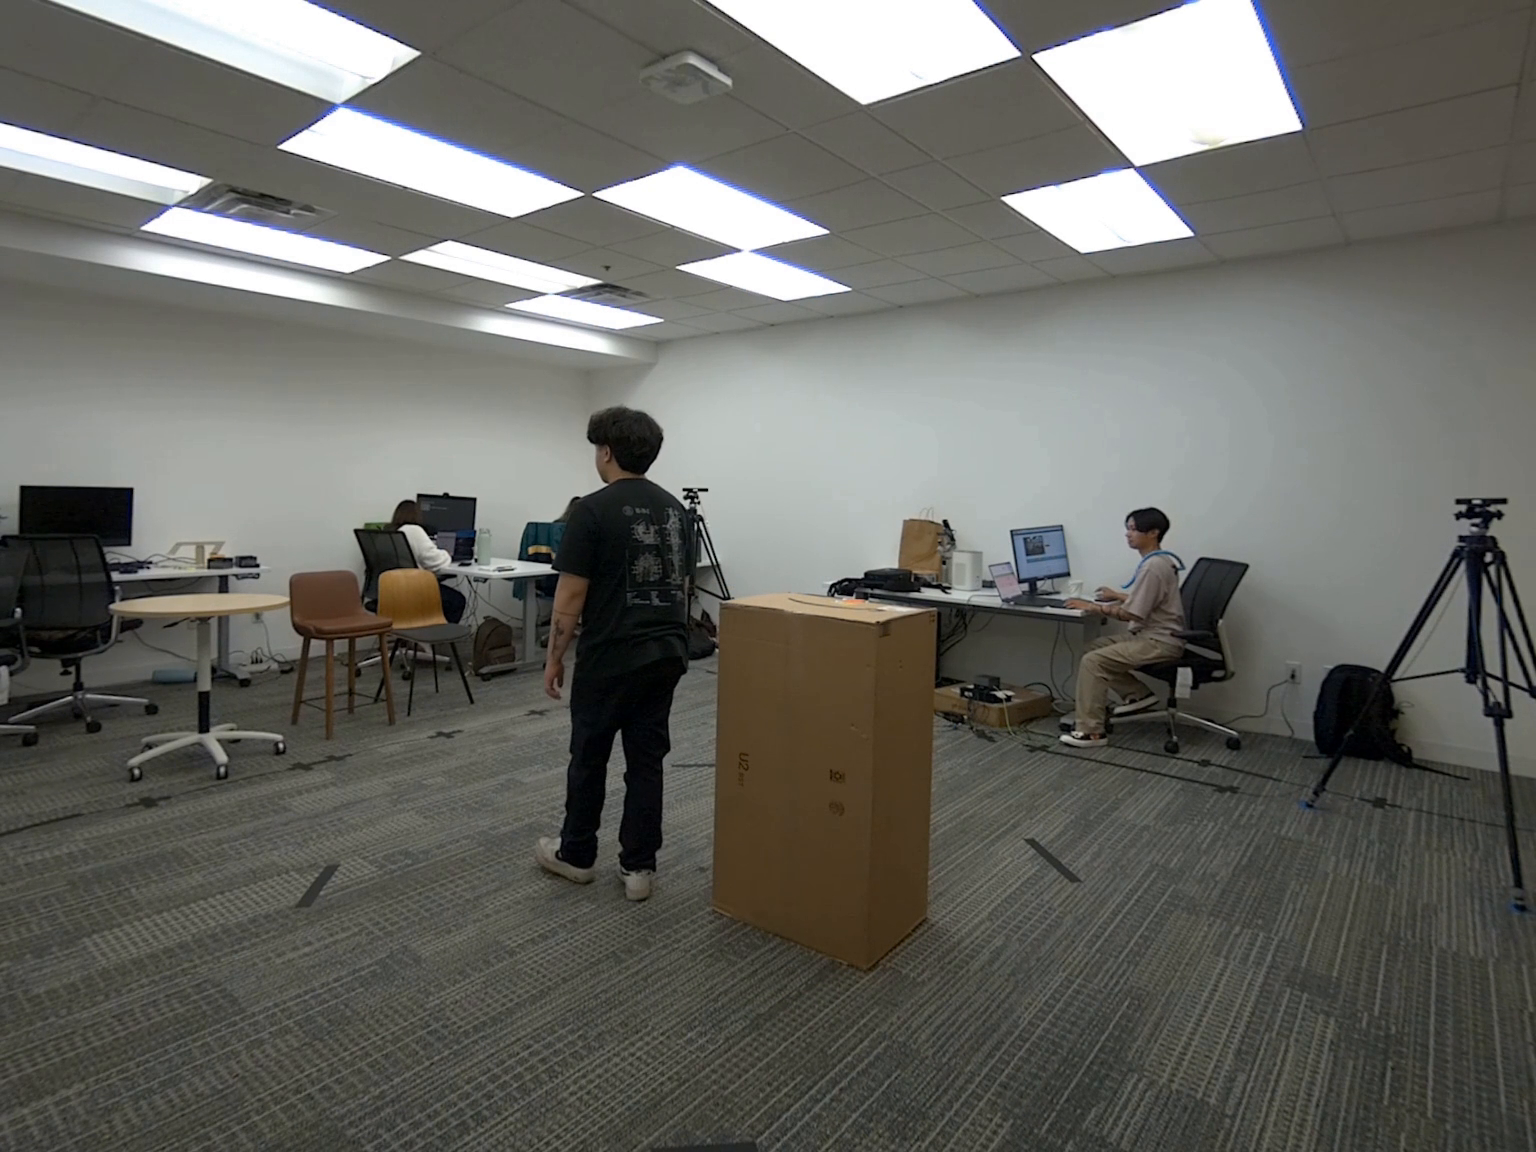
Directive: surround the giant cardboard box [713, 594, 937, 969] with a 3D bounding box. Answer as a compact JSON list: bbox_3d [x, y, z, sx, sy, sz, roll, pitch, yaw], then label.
[{"bbox_3d":[0.178,0.601,2.778,0.603,1.025,0.433,4,3,37],"label":"giant cardboard box"}]
